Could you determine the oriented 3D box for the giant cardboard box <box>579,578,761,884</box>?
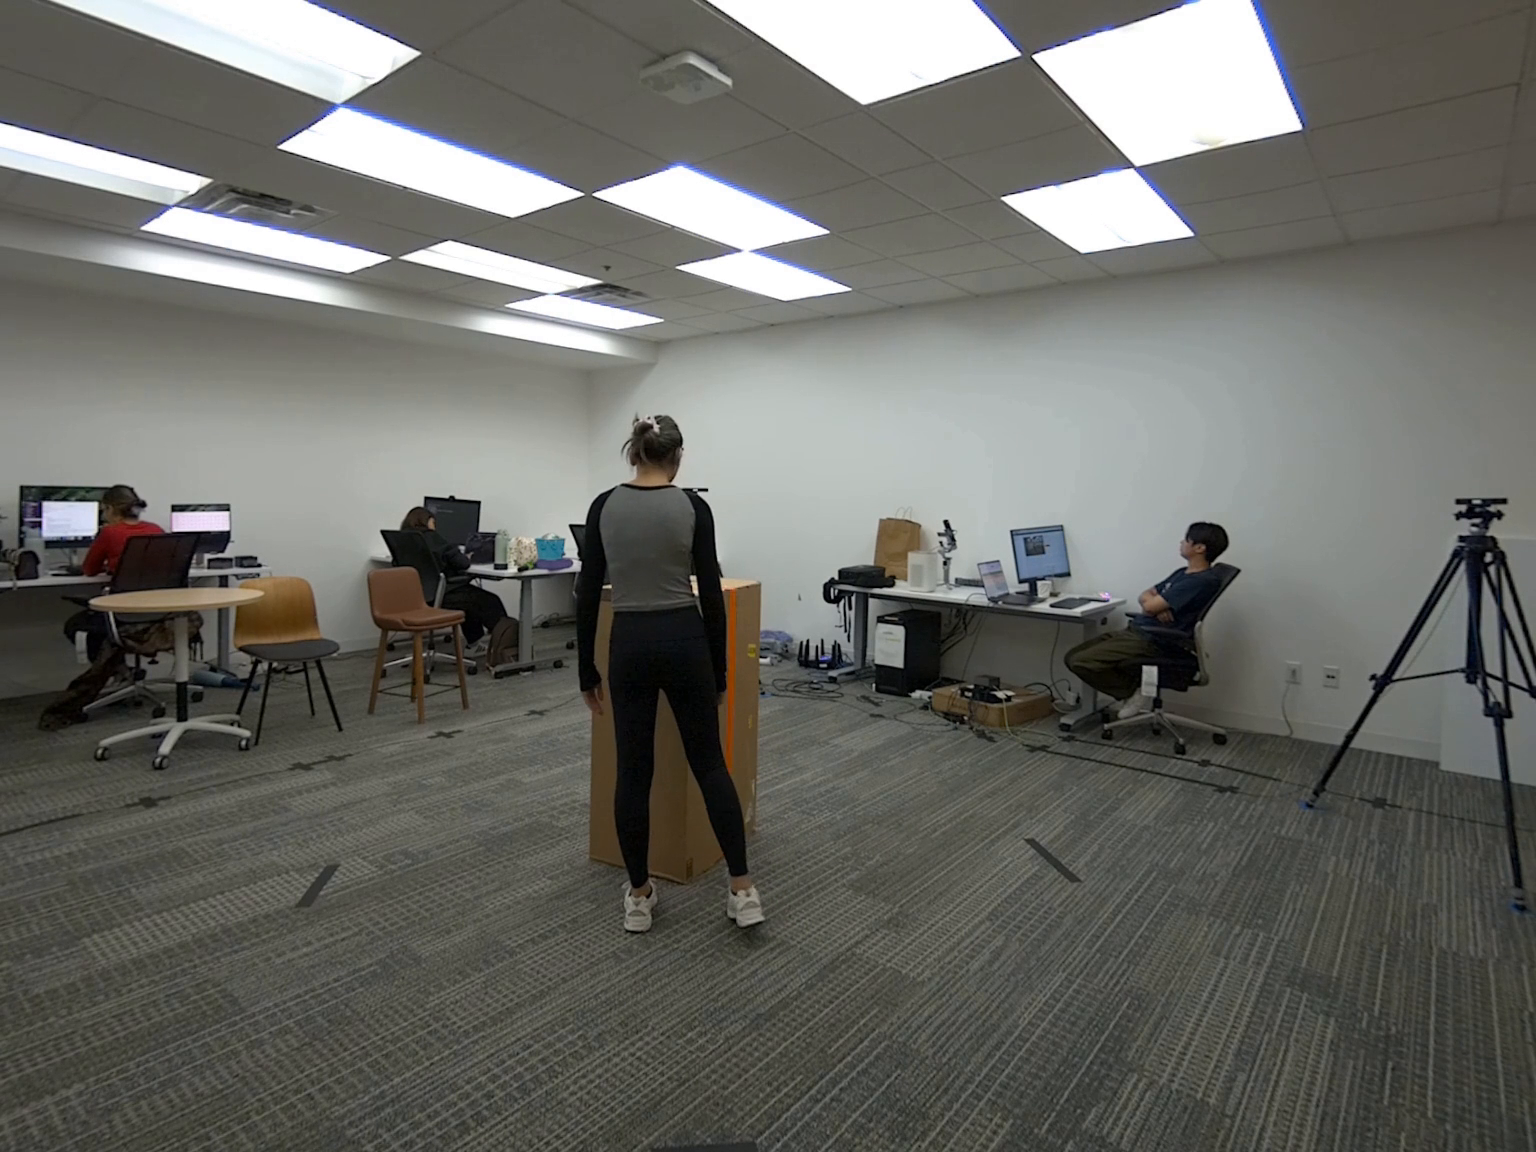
[{"bbox_3d":[-0.354,0.538,3.304,0.438,1.023,0.563,3,4,27],"label":"giant cardboard box"}]
